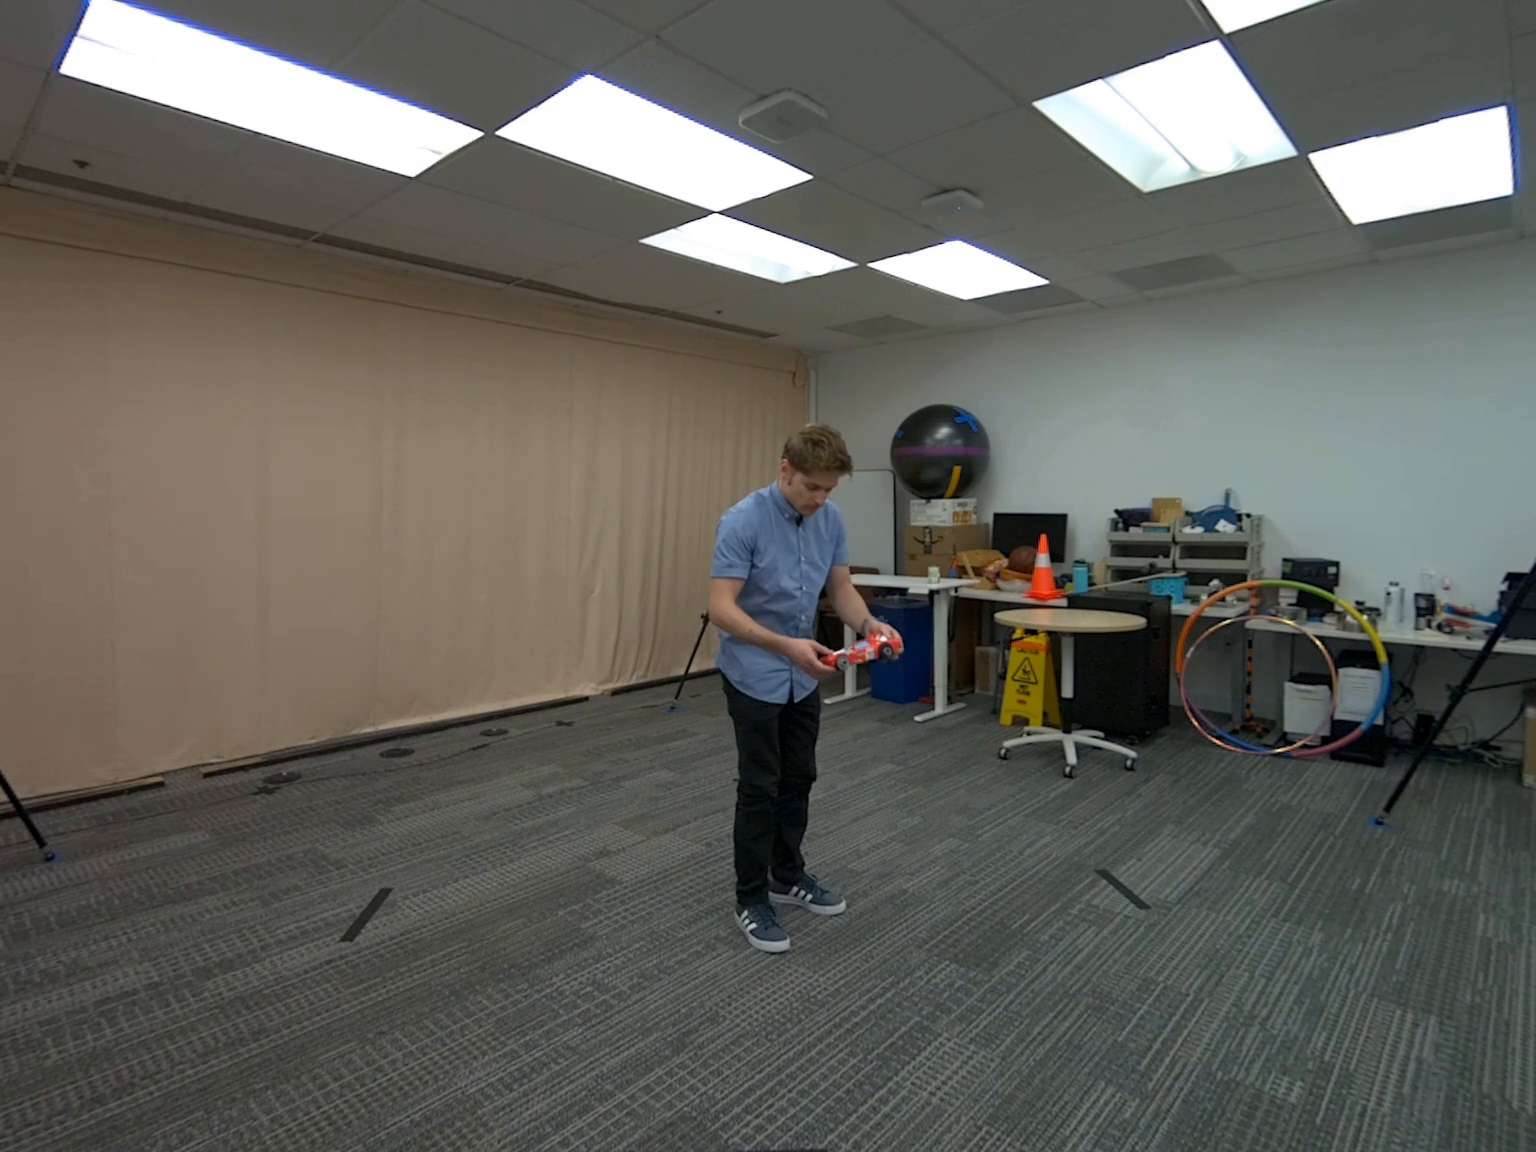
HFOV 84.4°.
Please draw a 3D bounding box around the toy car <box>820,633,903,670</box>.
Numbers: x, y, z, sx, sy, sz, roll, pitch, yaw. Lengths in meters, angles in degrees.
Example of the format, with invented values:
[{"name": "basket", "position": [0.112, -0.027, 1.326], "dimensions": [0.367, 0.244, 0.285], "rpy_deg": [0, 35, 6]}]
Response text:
[{"name": "toy car", "position": [0.257, 0.264, 2.421], "dimensions": [0.249, 0.082, 0.134], "rpy_deg": [-23, 12, -30]}]
